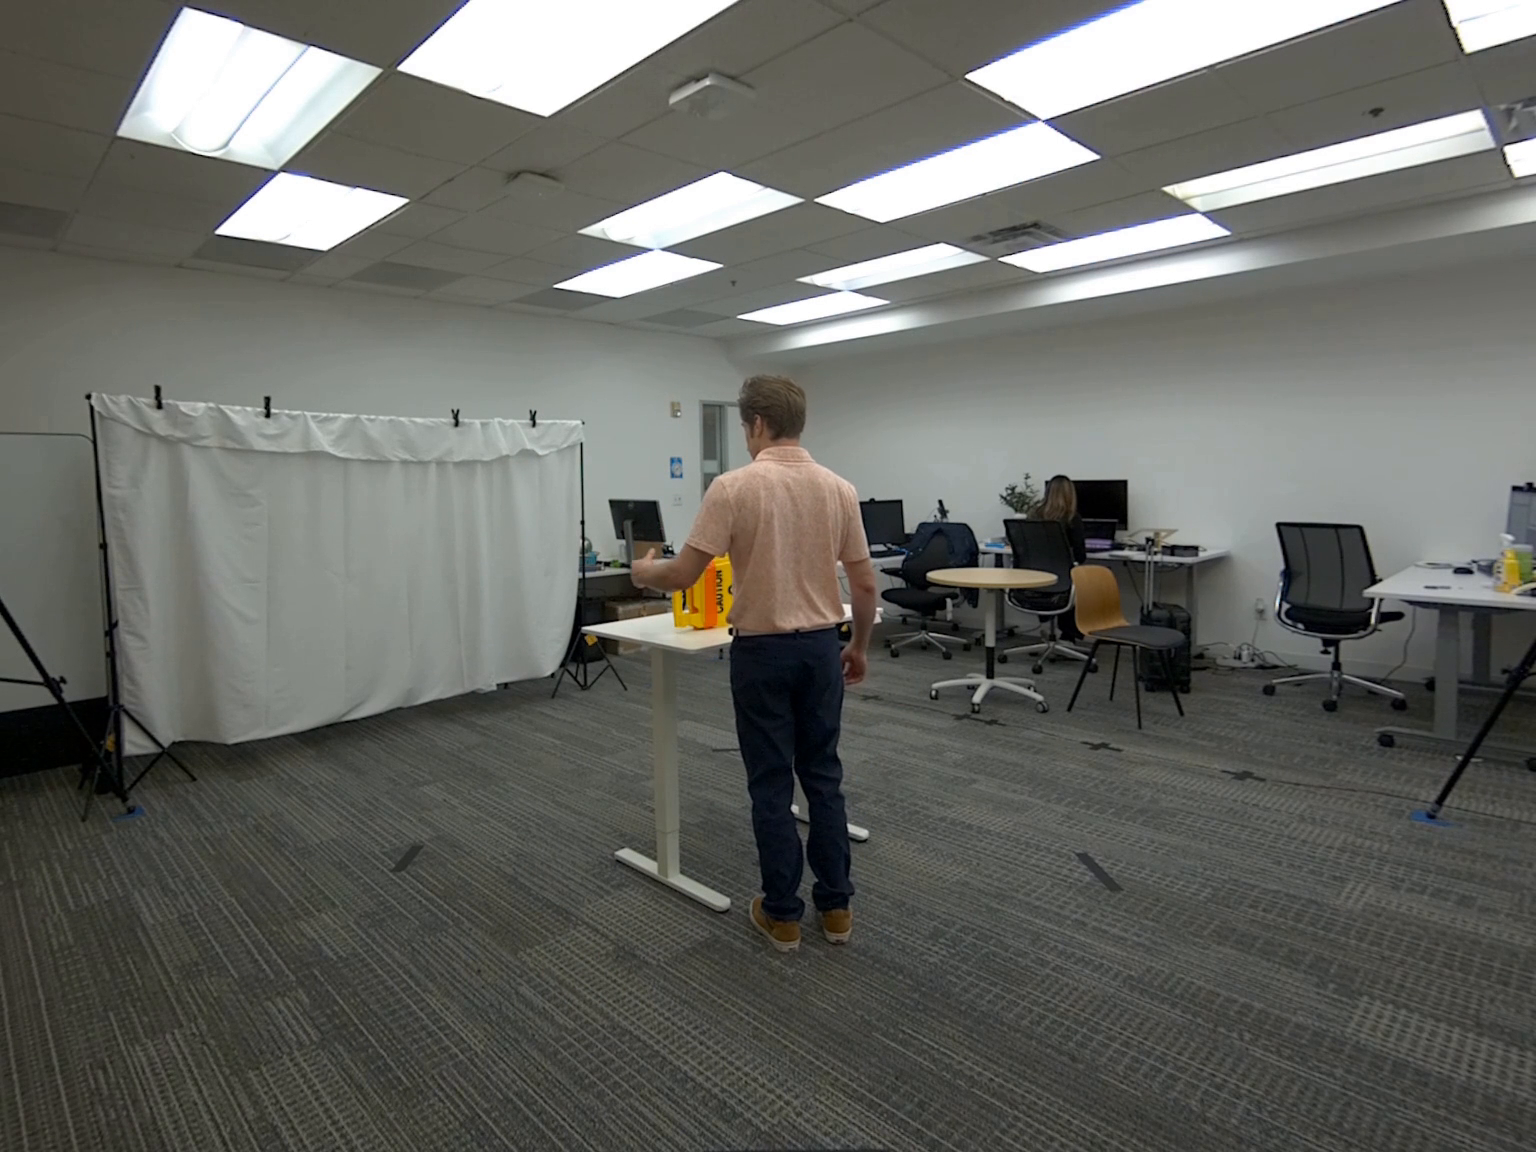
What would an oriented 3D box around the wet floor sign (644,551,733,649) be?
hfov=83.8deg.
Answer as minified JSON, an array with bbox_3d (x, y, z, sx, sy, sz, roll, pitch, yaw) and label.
[{"bbox_3d":[-0.102,0.040,3.106,0.299,0.280,0.630,4,10,42],"label":"wet floor sign"}]
